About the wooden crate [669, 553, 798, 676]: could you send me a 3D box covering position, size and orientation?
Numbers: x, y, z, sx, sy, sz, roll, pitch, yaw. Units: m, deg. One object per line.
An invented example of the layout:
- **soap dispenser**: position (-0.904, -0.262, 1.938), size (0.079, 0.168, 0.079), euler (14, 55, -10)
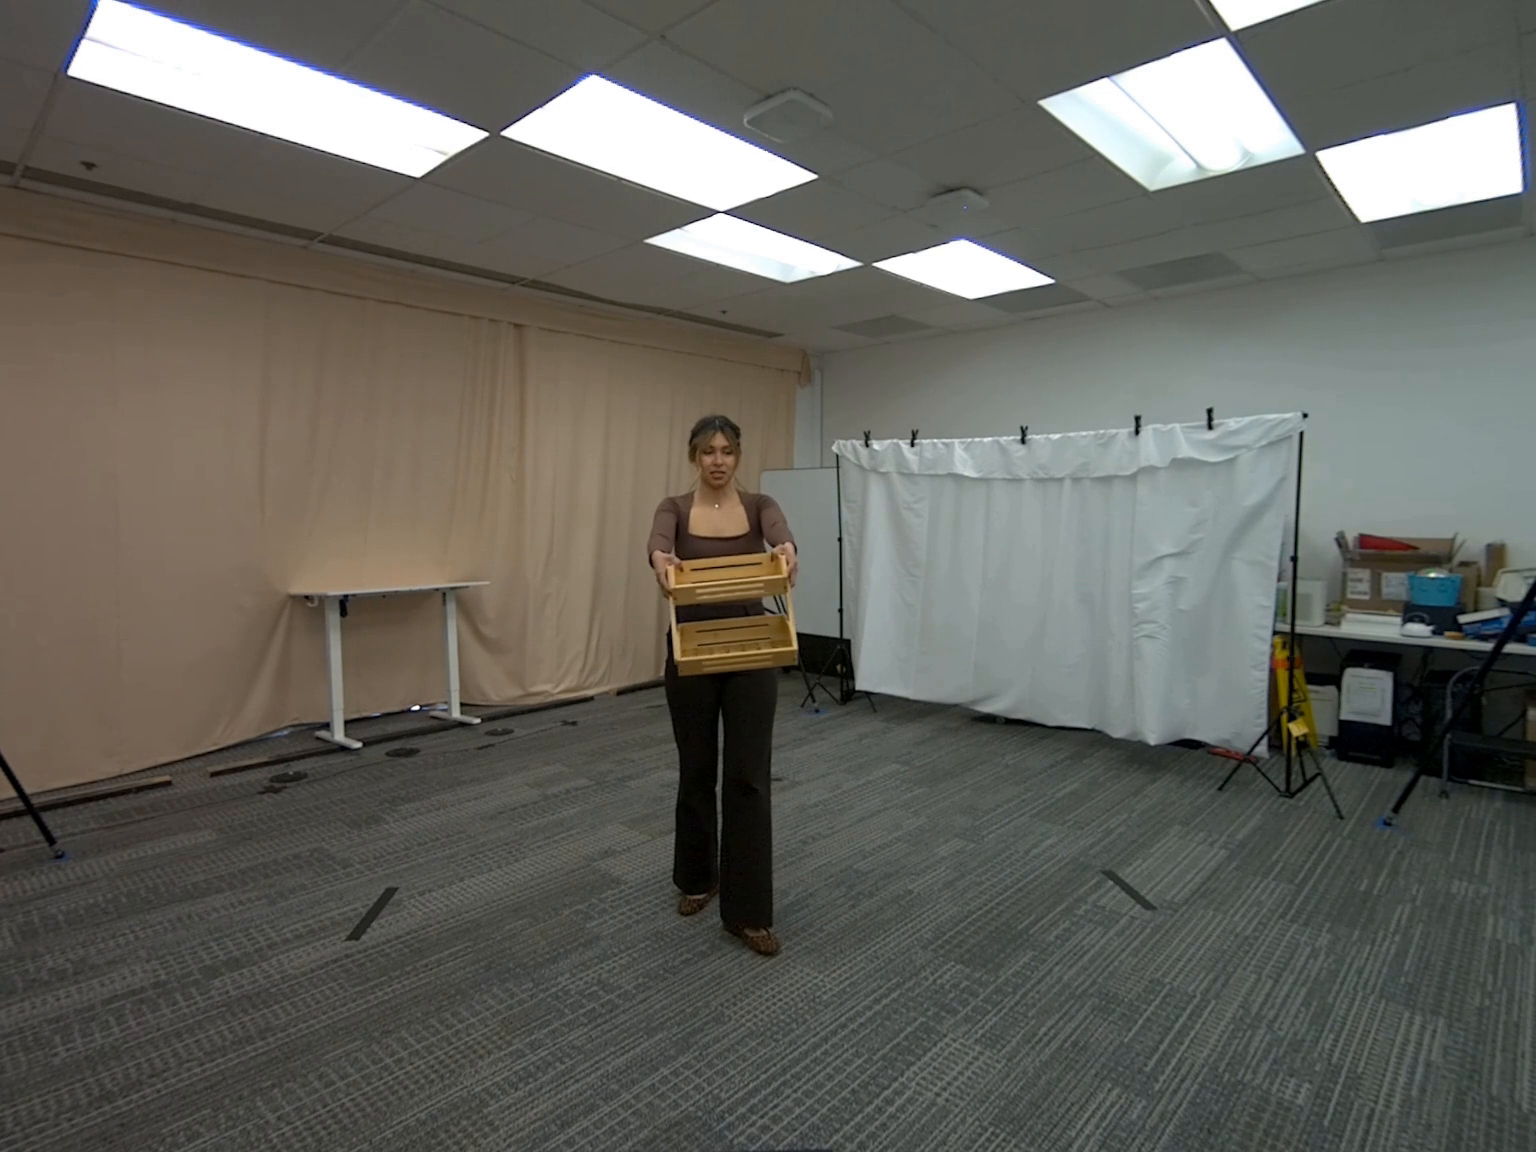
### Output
- **wooden crate**: position (-0.091, 0.092, 2.233), size (0.324, 0.272, 0.304), euler (-5, 6, -3)
